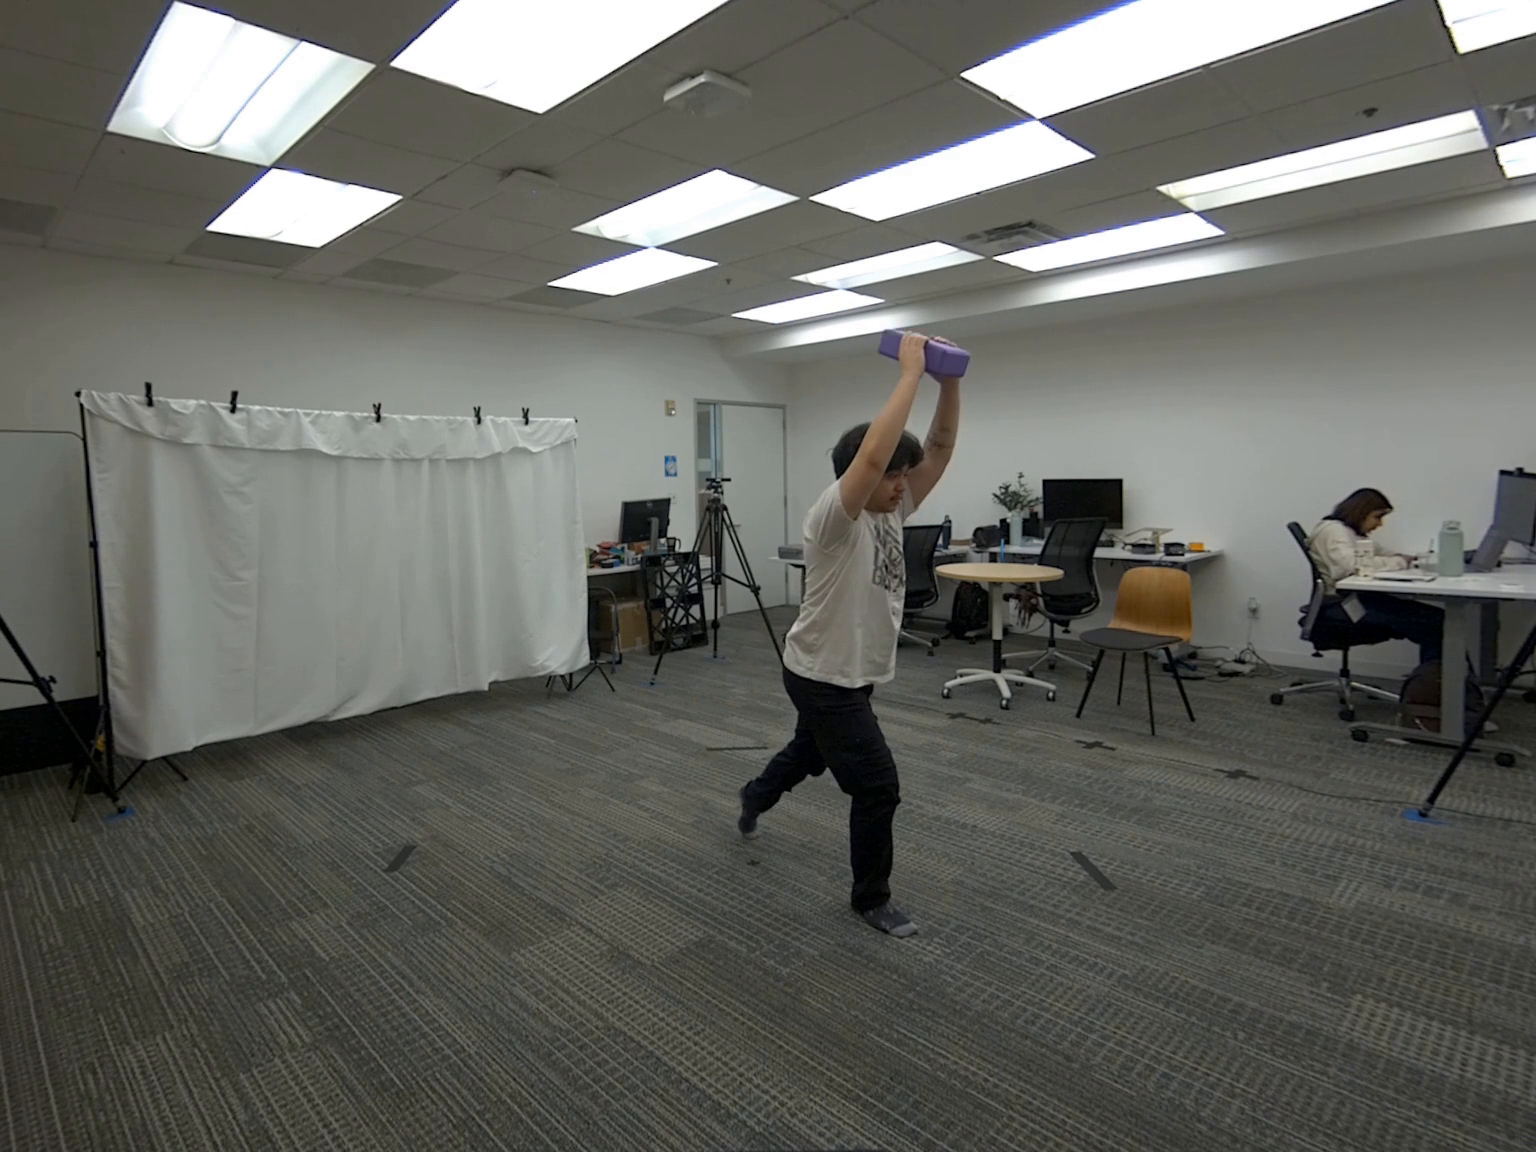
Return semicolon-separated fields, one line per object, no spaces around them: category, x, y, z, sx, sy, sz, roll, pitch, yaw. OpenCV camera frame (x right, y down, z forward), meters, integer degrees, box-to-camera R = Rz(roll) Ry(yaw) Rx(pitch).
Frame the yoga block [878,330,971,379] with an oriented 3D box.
yoga block;0.453;-0.647;2.506;0.145;0.075;0.238;-7;30;-45
